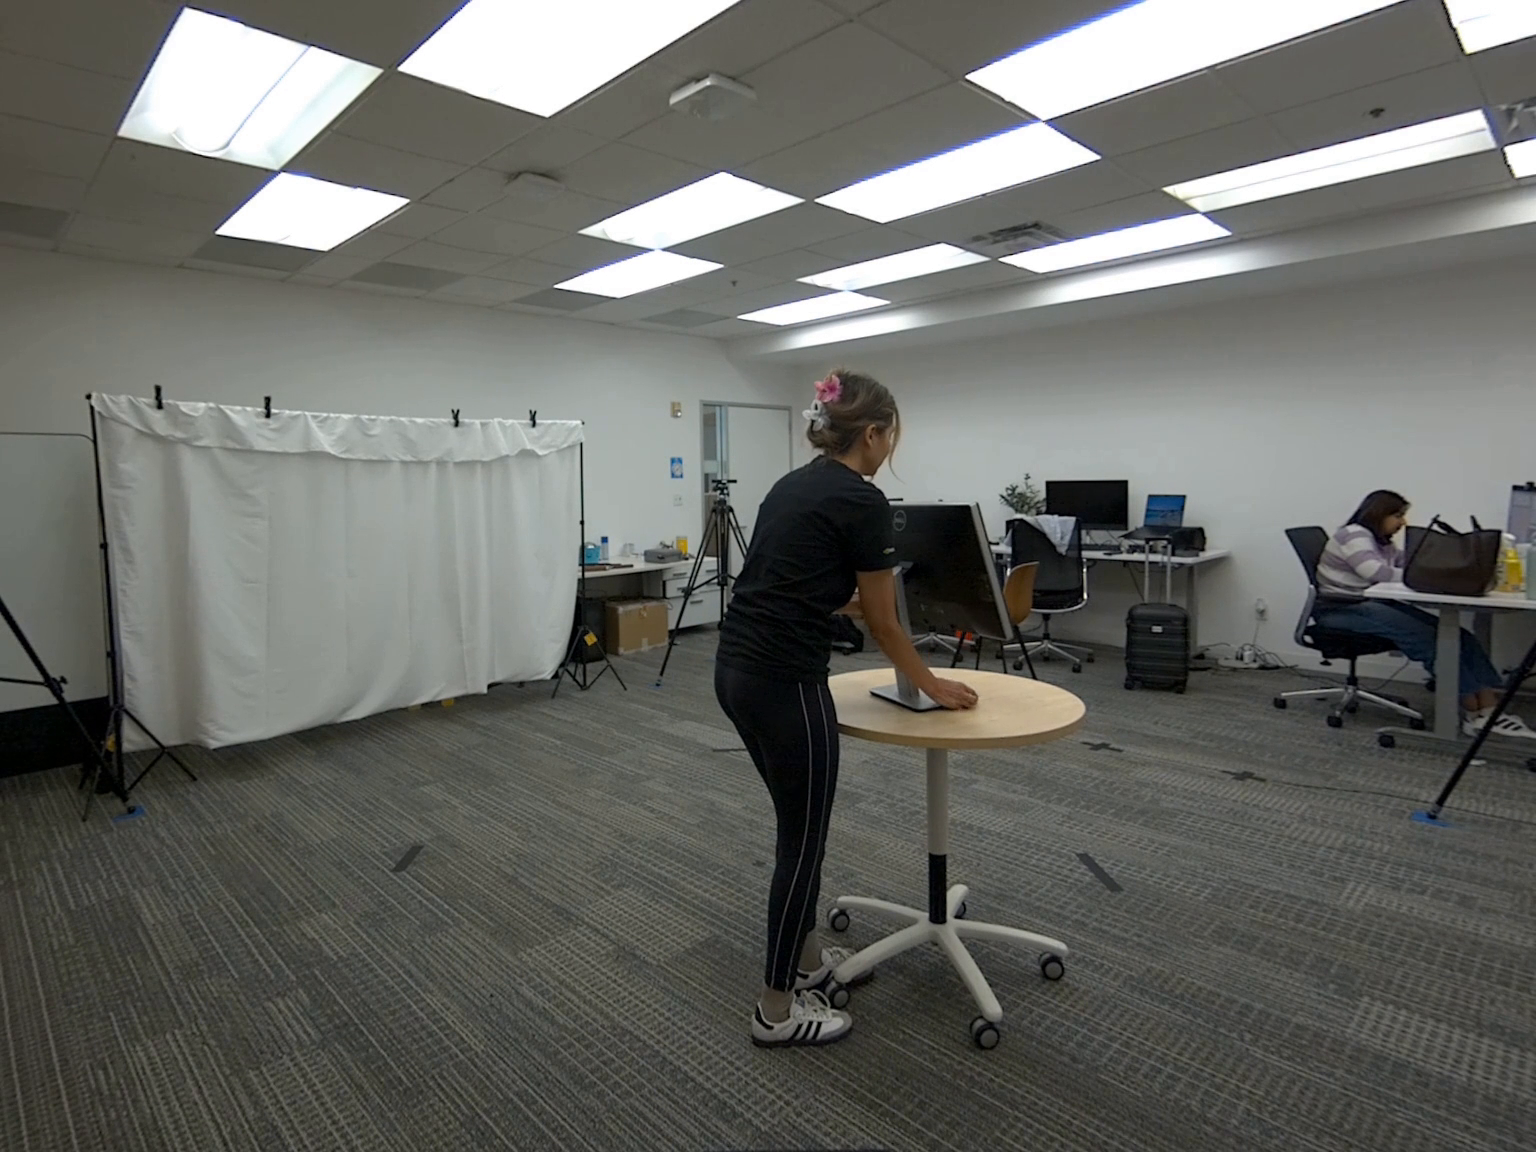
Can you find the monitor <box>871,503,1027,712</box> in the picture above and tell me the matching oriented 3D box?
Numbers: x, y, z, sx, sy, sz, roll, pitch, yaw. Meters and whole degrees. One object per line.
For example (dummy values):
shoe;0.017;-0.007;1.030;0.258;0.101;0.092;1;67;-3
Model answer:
monitor;0.404;0.070;2.346;0.183;0.520;0.552;-7;6;-26
